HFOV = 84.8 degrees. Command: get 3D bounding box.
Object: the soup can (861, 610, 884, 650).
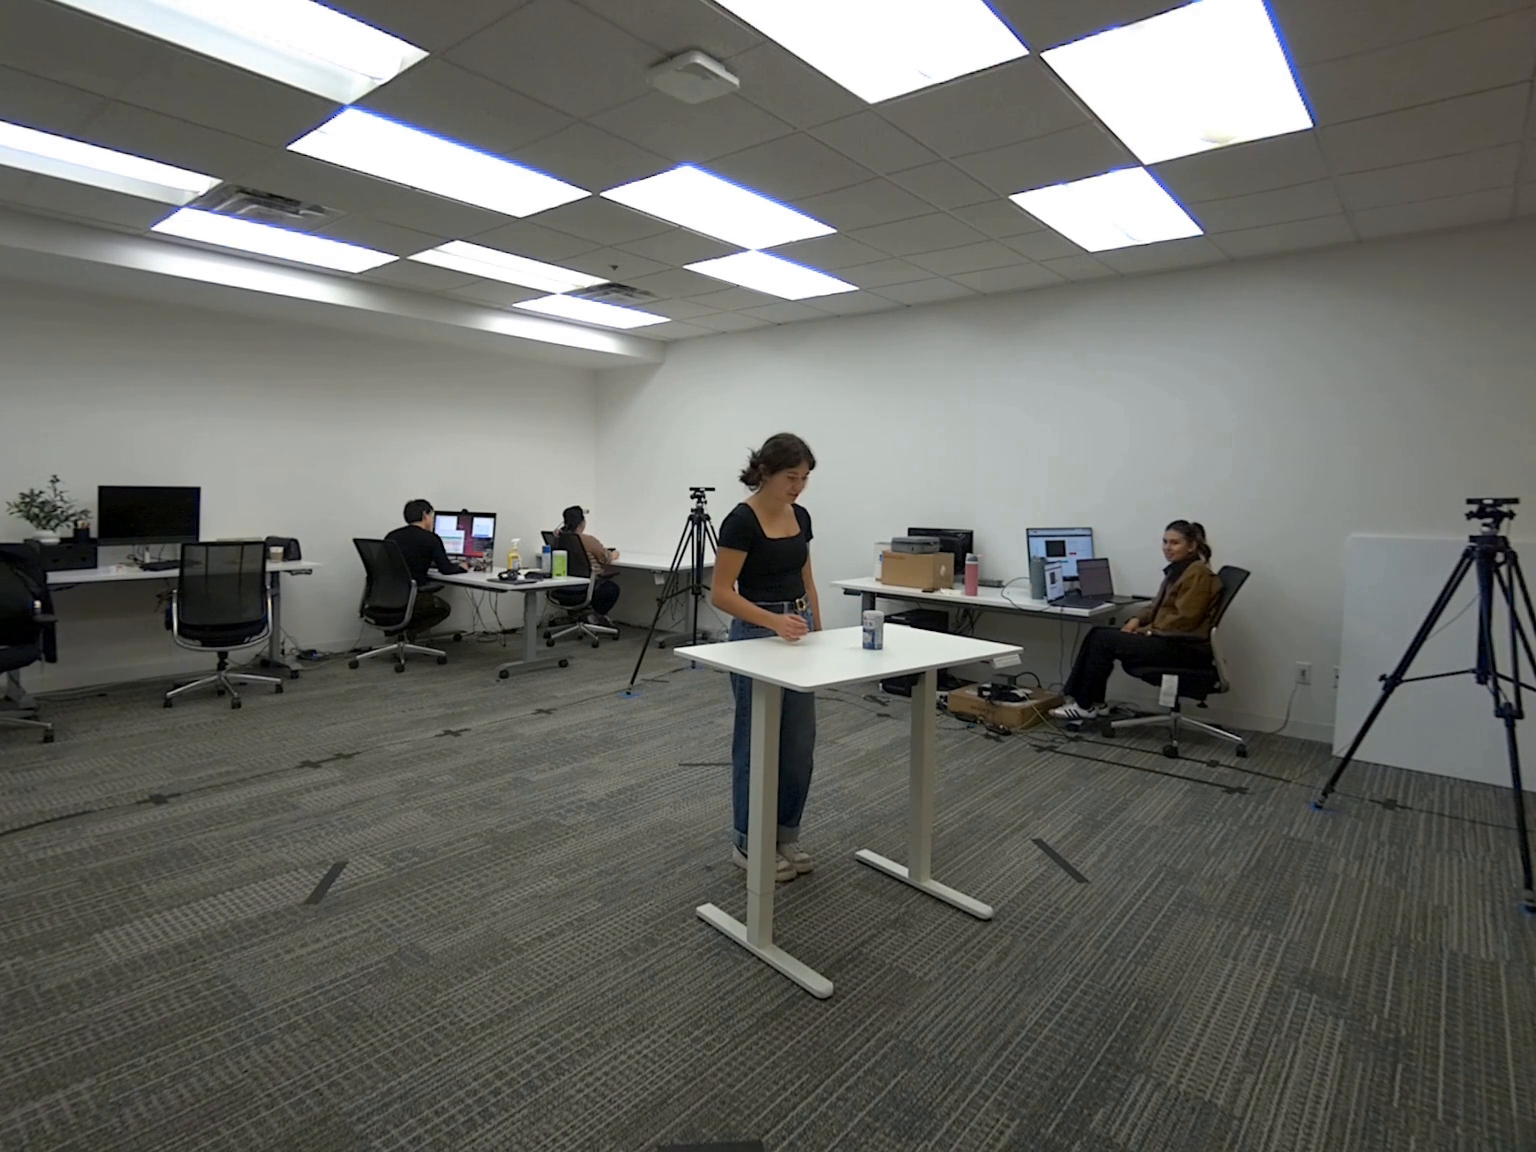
[{"bbox_3d":[0.336,0.175,2.746,0.067,0.121,0.067,1,4,-2],"label":"soup can"}]
